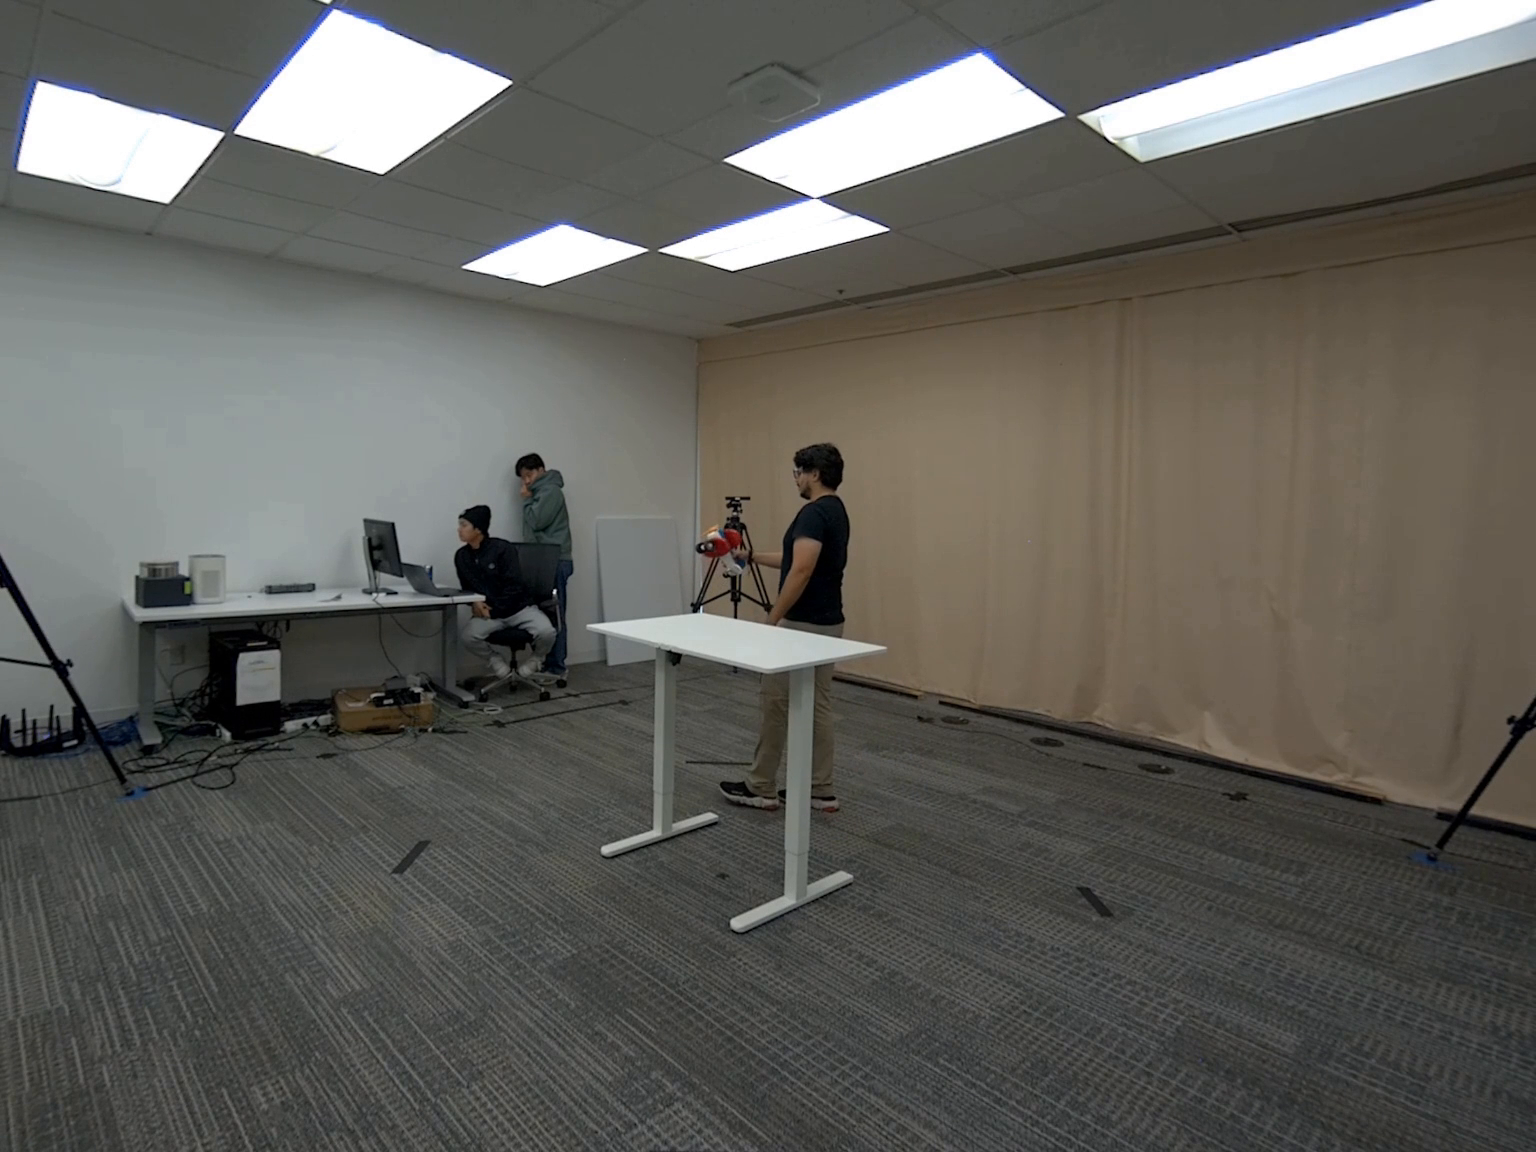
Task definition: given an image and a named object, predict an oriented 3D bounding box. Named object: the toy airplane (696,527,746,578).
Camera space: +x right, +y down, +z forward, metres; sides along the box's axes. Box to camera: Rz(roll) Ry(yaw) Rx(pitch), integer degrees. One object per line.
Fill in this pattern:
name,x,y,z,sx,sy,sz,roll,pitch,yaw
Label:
toy airplane,-0.248,-0.118,4.087,0.258,0.251,0.156,18,56,39
